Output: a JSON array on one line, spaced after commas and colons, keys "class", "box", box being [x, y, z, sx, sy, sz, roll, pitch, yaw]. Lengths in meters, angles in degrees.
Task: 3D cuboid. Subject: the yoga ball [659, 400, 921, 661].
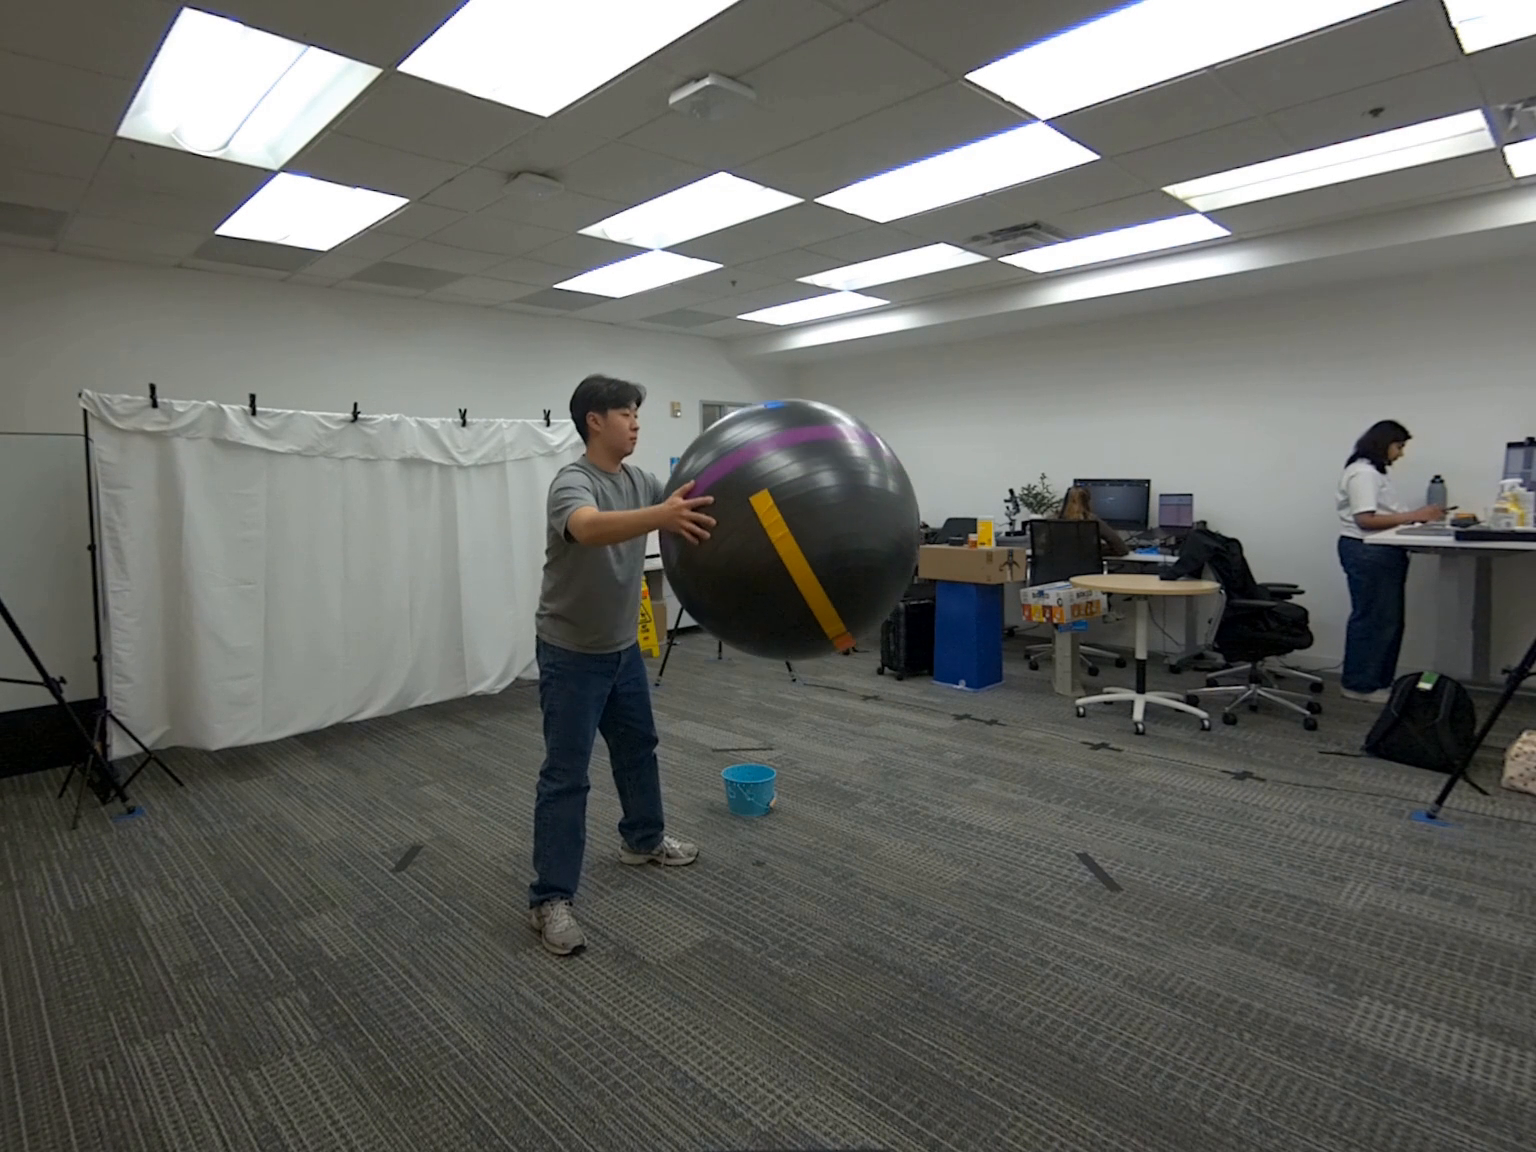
[{"class": "yoga ball", "box": [0.056, -0.121, 2.486, 0.757, 0.755, 0.762, -1, 5, -2]}]
